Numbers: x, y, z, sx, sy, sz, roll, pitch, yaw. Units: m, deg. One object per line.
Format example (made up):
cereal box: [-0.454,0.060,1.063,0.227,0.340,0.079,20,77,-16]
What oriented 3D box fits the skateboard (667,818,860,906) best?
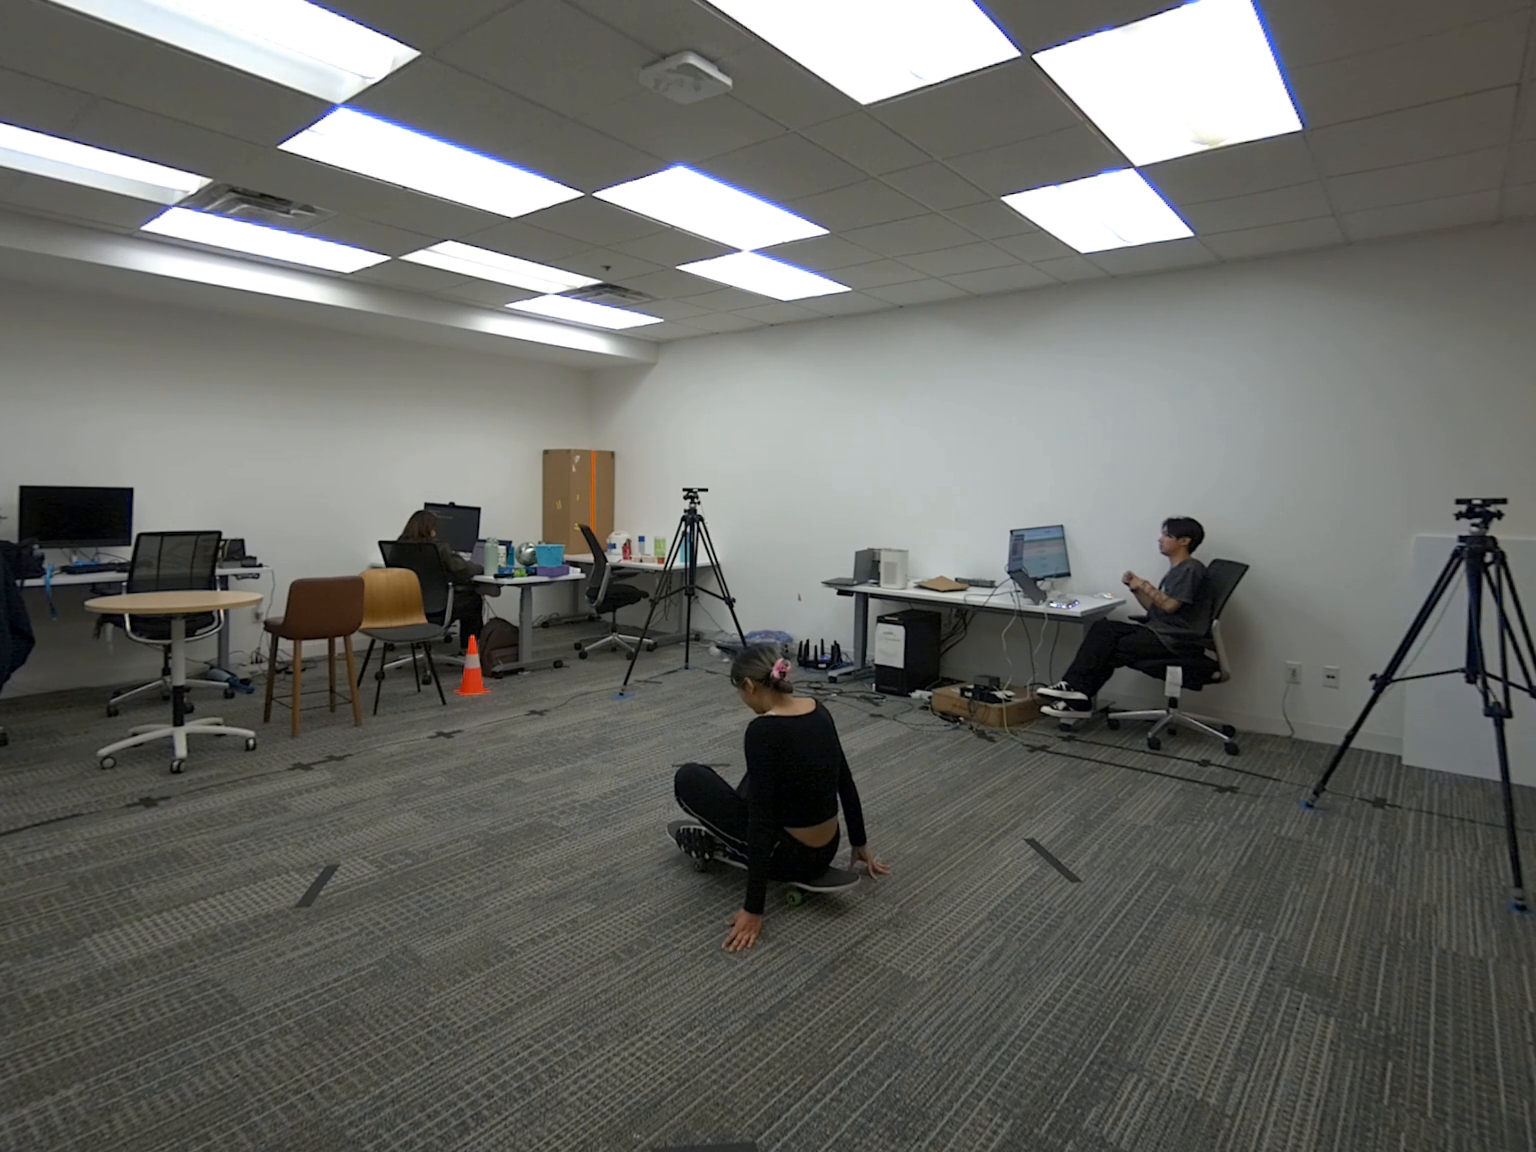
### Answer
skateboard: [-0.057,1.023,3.026,0.811,0.110,0.188,6,5,33]
